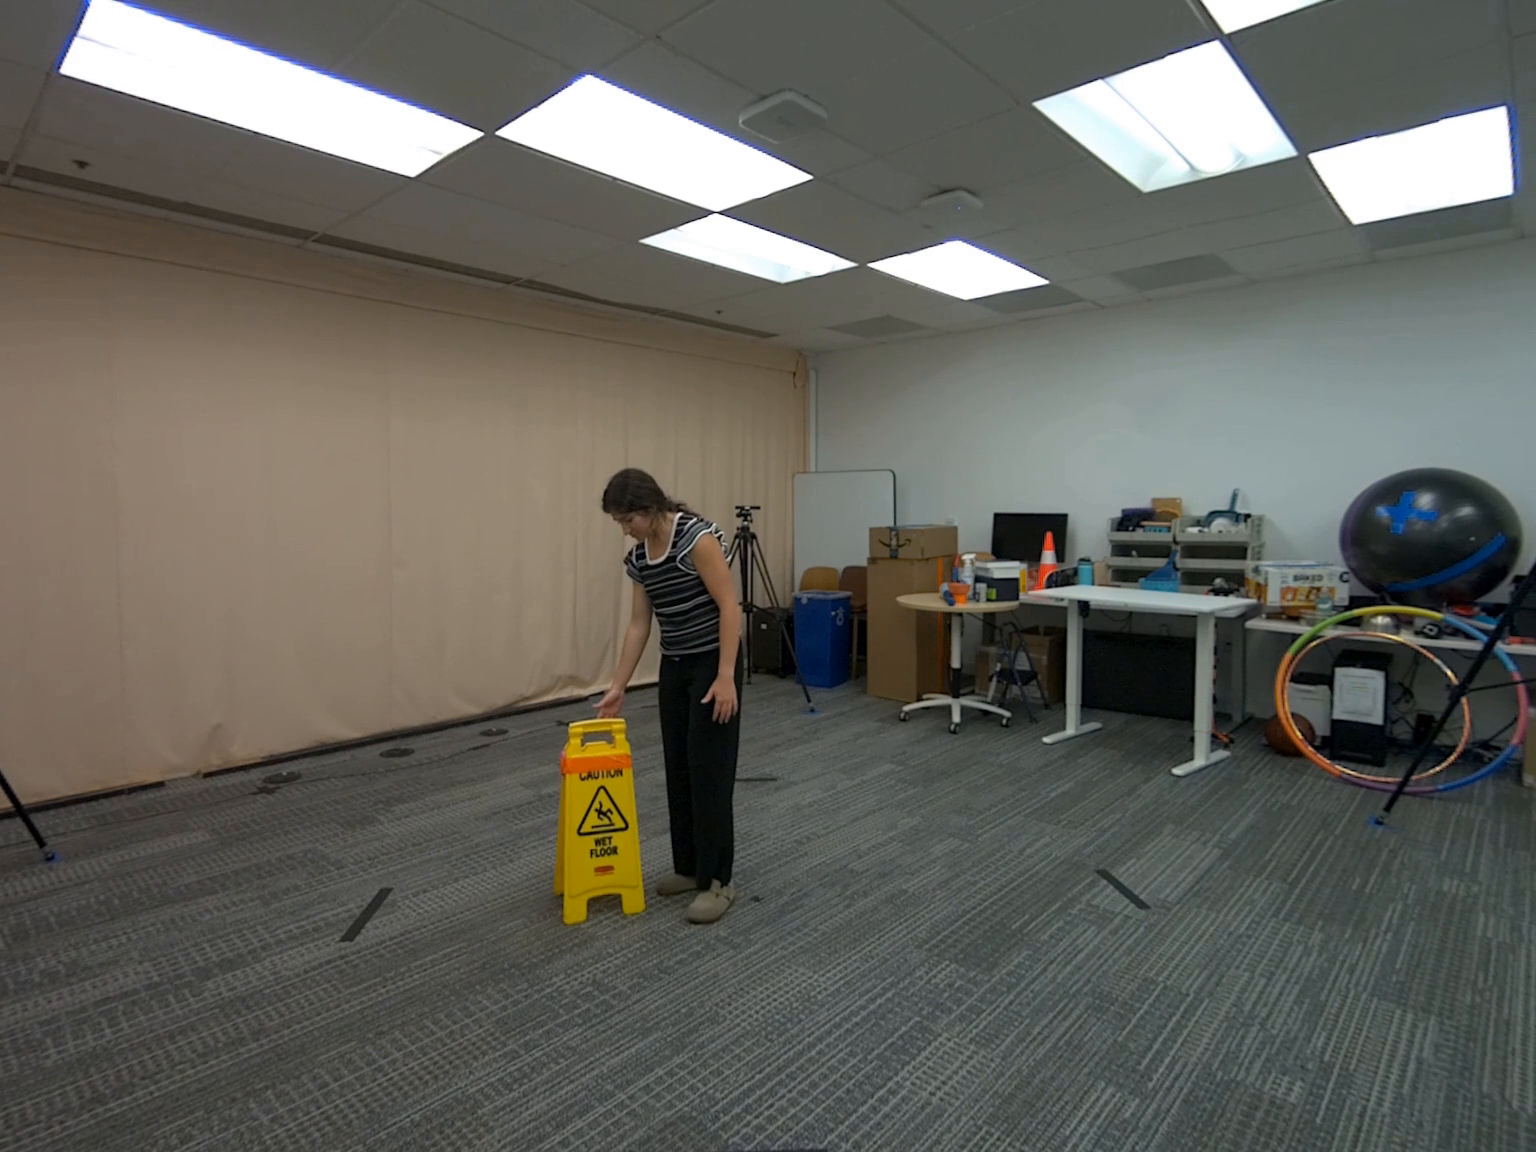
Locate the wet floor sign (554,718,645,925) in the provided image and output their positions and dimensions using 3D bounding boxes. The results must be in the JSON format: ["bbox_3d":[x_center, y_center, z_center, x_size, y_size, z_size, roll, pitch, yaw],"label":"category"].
[{"bbox_3d":[-0.600,0.826,2.942,0.277,0.644,0.296,-1,4,-19],"label":"wet floor sign"}]
